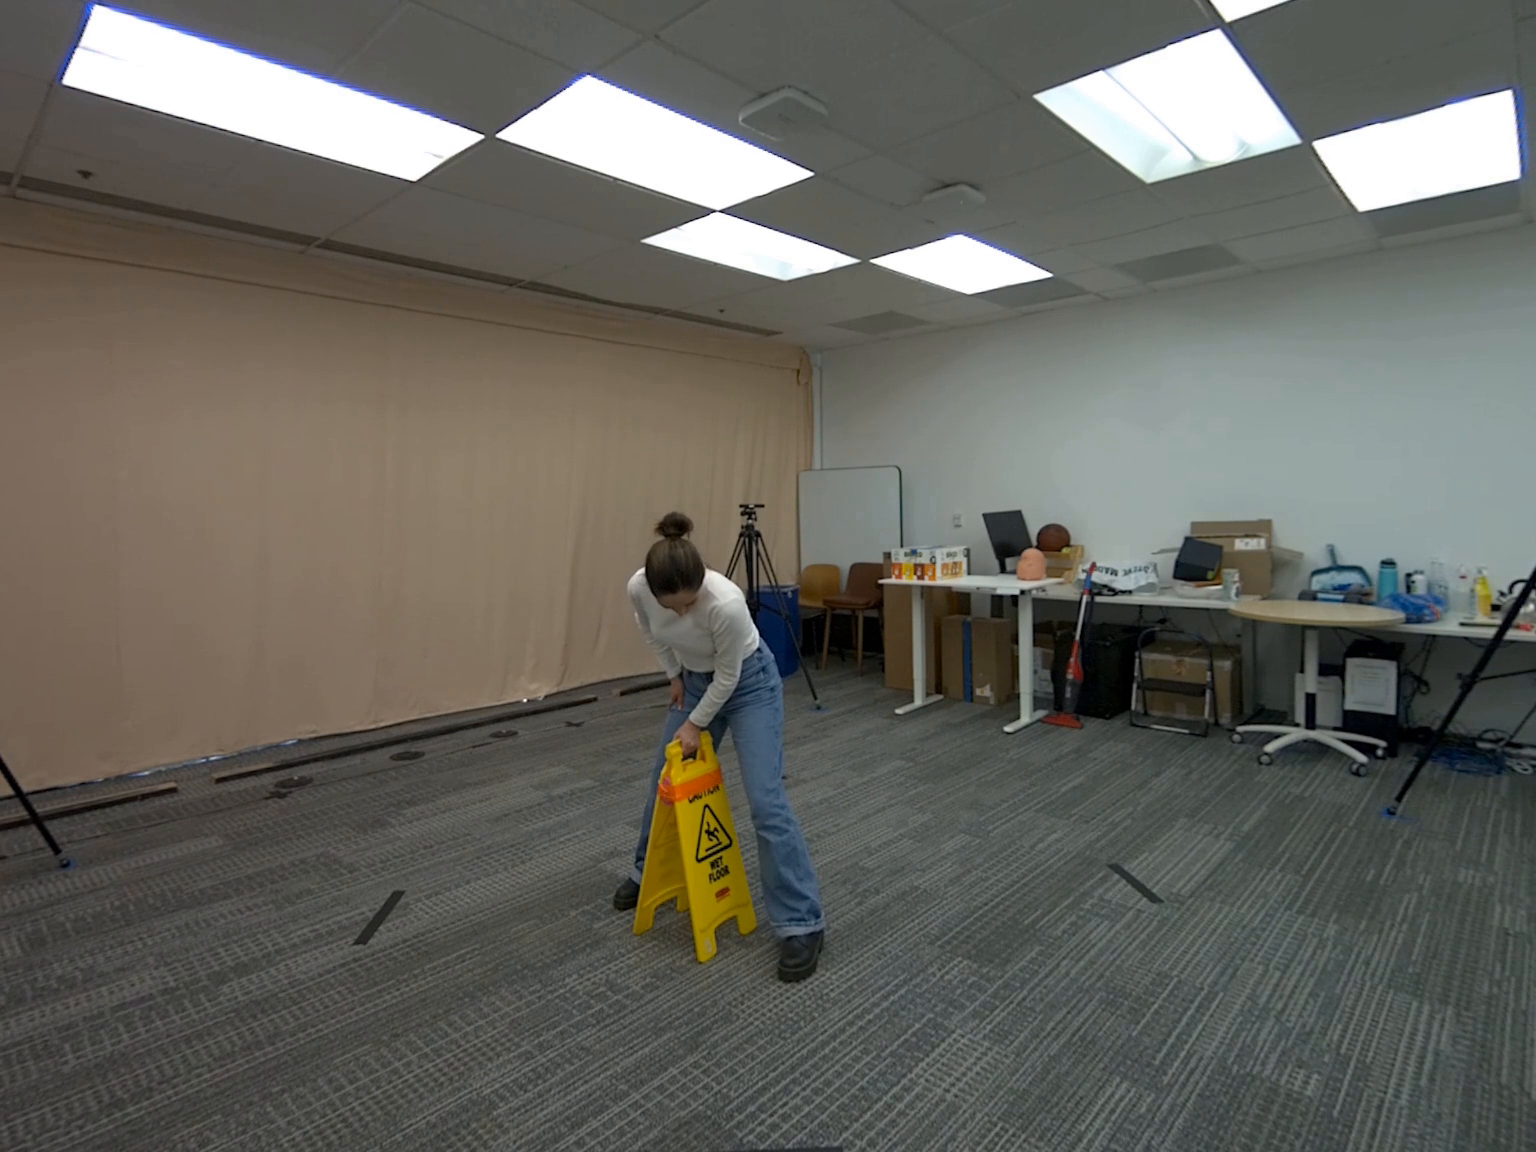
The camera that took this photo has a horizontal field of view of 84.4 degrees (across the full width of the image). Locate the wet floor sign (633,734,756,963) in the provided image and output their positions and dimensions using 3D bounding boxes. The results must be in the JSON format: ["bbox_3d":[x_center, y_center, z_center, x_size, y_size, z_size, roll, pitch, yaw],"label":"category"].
[{"bbox_3d":[-0.247,0.848,2.736,0.299,0.645,0.274,0,4,38],"label":"wet floor sign"}]
